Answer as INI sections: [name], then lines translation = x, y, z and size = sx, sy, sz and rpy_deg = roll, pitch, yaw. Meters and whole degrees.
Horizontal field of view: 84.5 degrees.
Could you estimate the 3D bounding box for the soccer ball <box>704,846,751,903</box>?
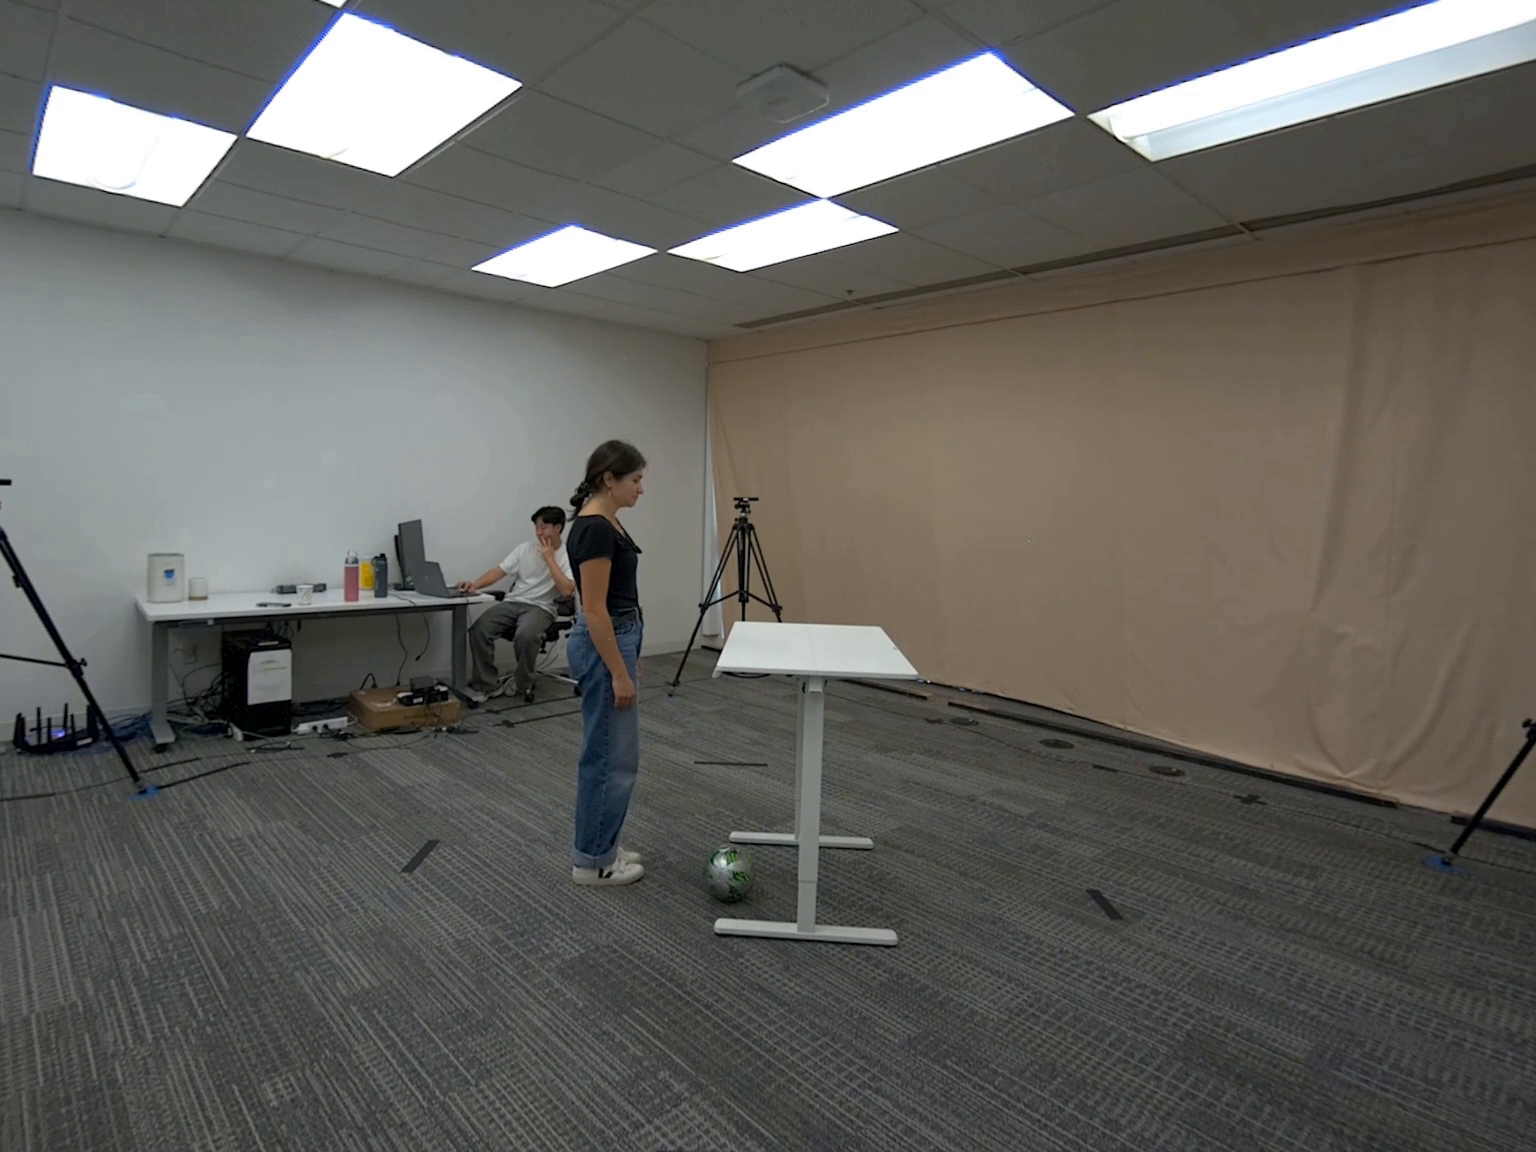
[soccer ball]
translation = -0.143, 1.039, 2.912
size = 0.187, 0.187, 0.188
rpy_deg = 1, 4, -1
